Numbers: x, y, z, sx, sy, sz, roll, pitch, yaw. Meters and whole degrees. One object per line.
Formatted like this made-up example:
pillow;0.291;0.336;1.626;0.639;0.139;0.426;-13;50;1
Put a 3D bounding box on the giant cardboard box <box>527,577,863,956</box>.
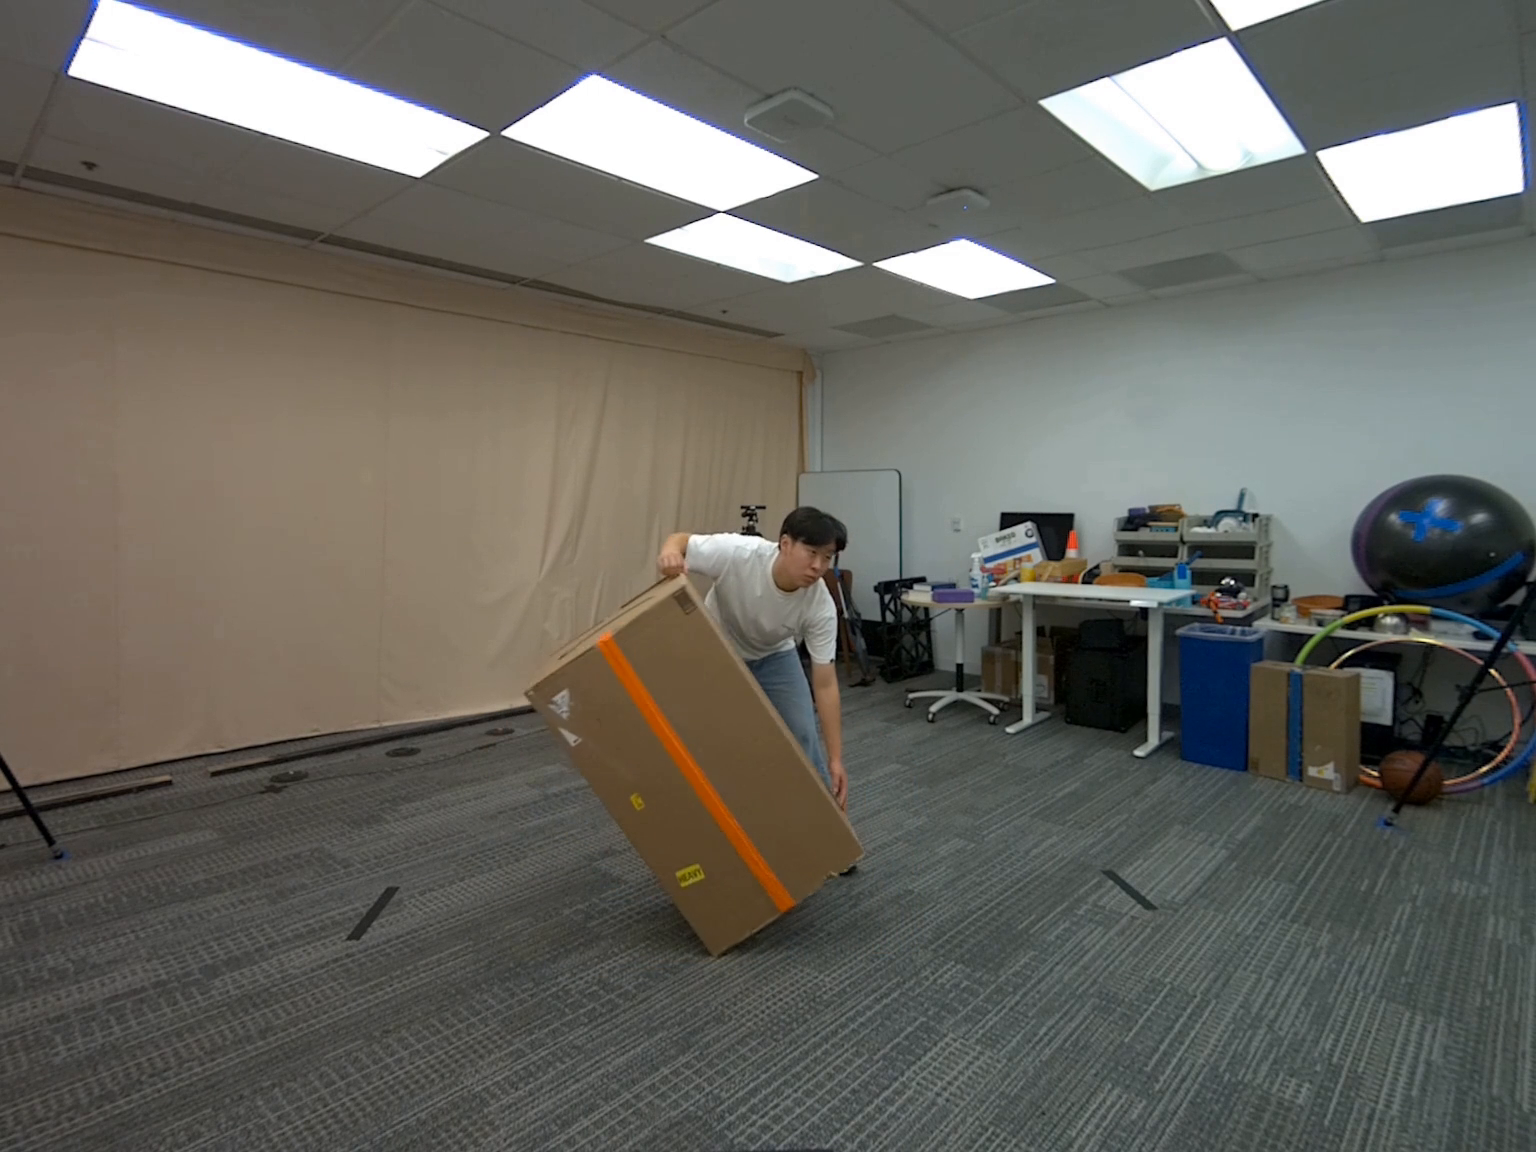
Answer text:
giant cardboard box;-0.232;0.582;2.743;0.577;1.018;0.429;-34;7;0
